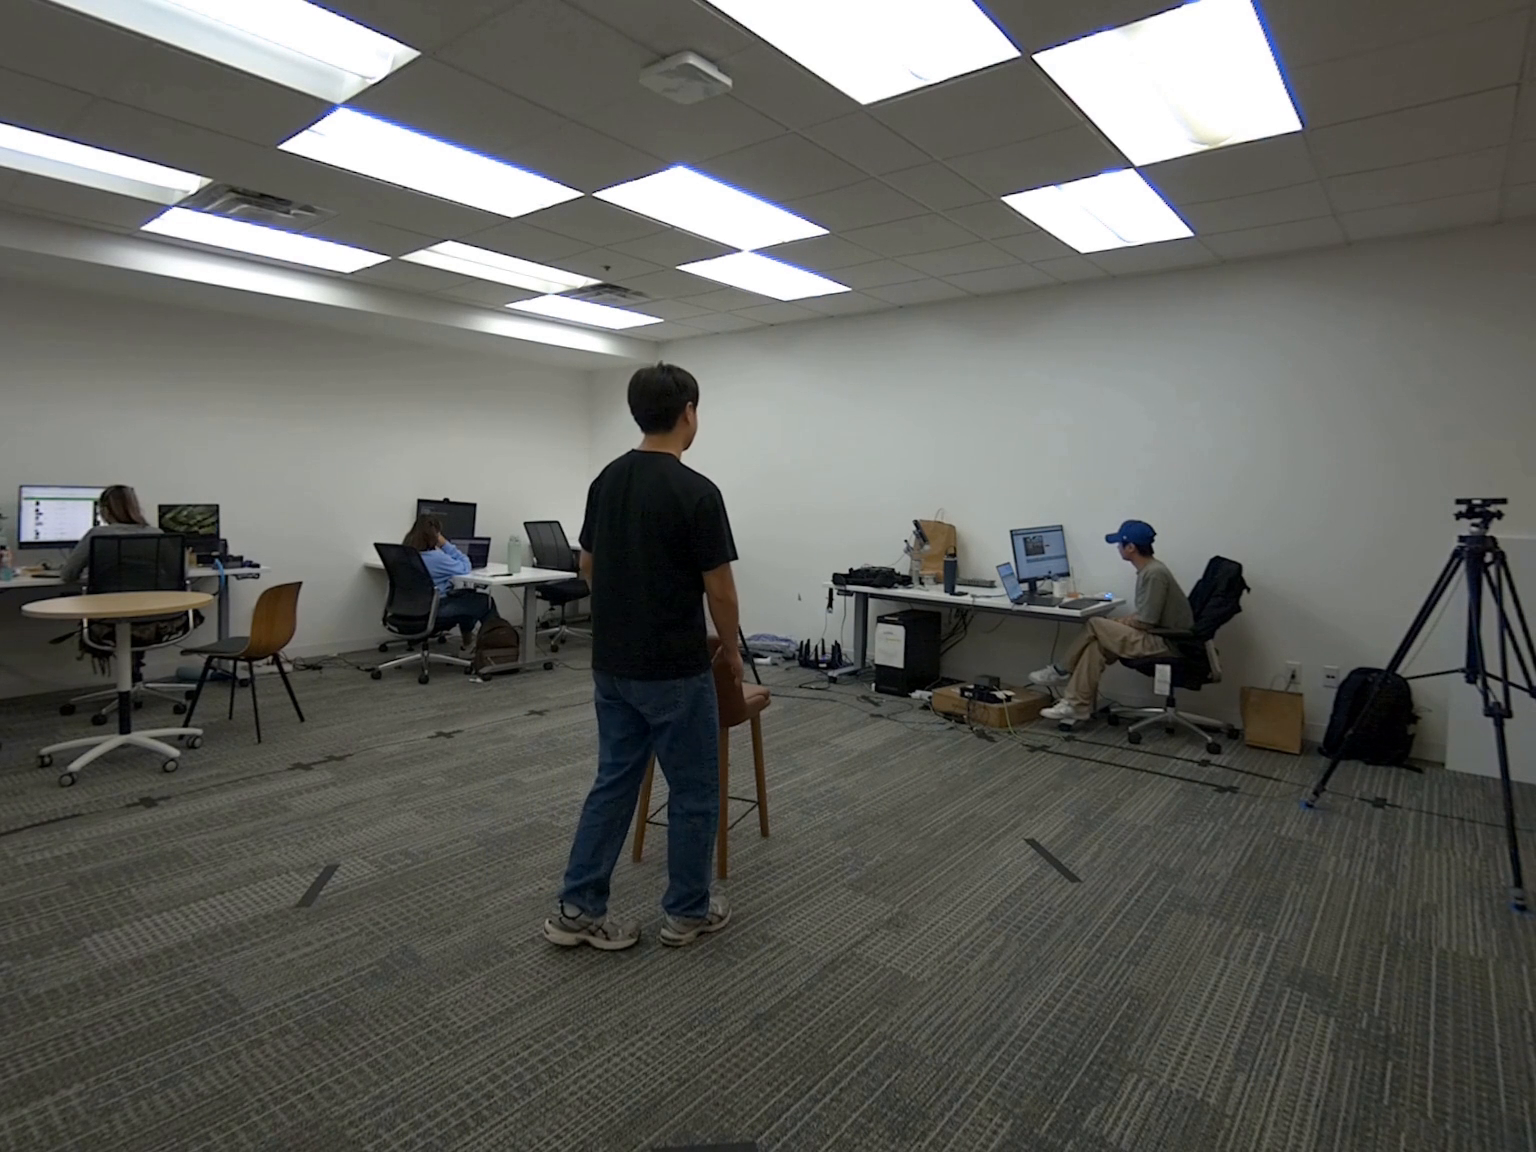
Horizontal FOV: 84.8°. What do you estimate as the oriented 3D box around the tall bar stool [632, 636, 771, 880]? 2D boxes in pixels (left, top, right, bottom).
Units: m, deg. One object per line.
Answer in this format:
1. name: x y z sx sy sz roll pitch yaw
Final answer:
1. tall bar stool: -0.264 0.612 3.274 0.467 0.886 0.459 2 5 22
